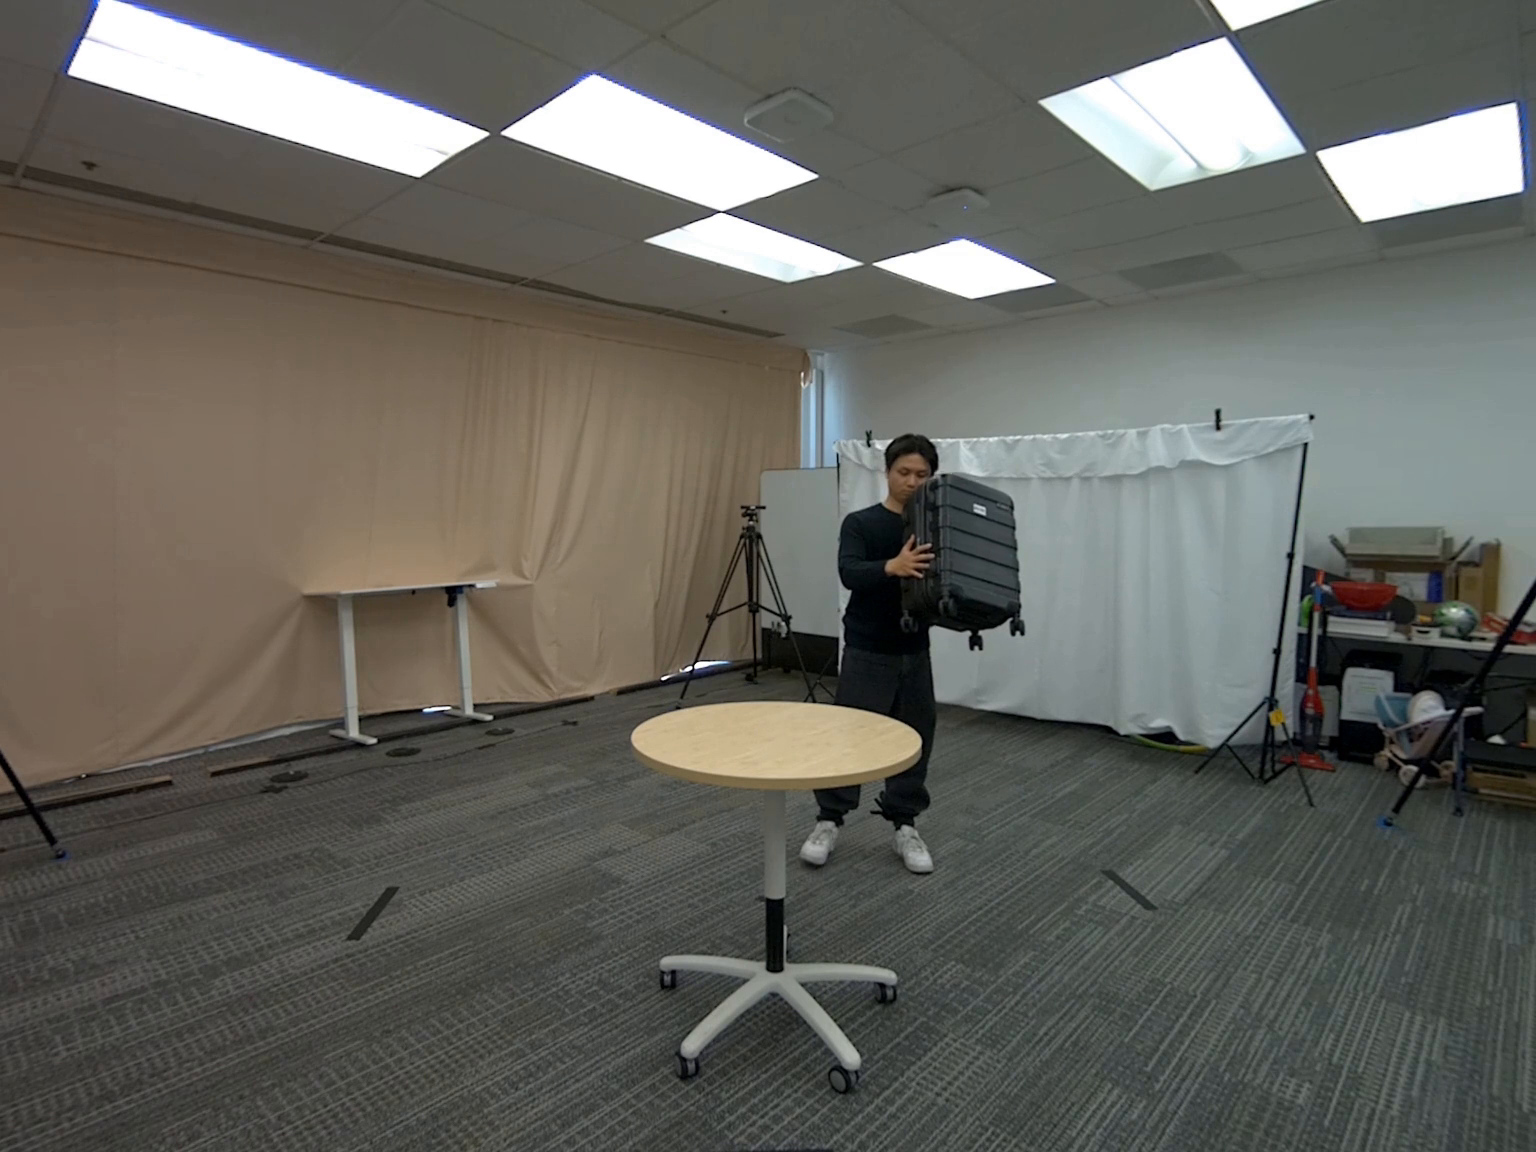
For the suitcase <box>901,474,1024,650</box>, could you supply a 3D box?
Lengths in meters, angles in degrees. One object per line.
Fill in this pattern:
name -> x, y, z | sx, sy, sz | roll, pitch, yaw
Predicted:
suitcase -> 0.672, -0.065, 2.970 | 0.366, 0.555, 0.251 | 16, -26, -22
